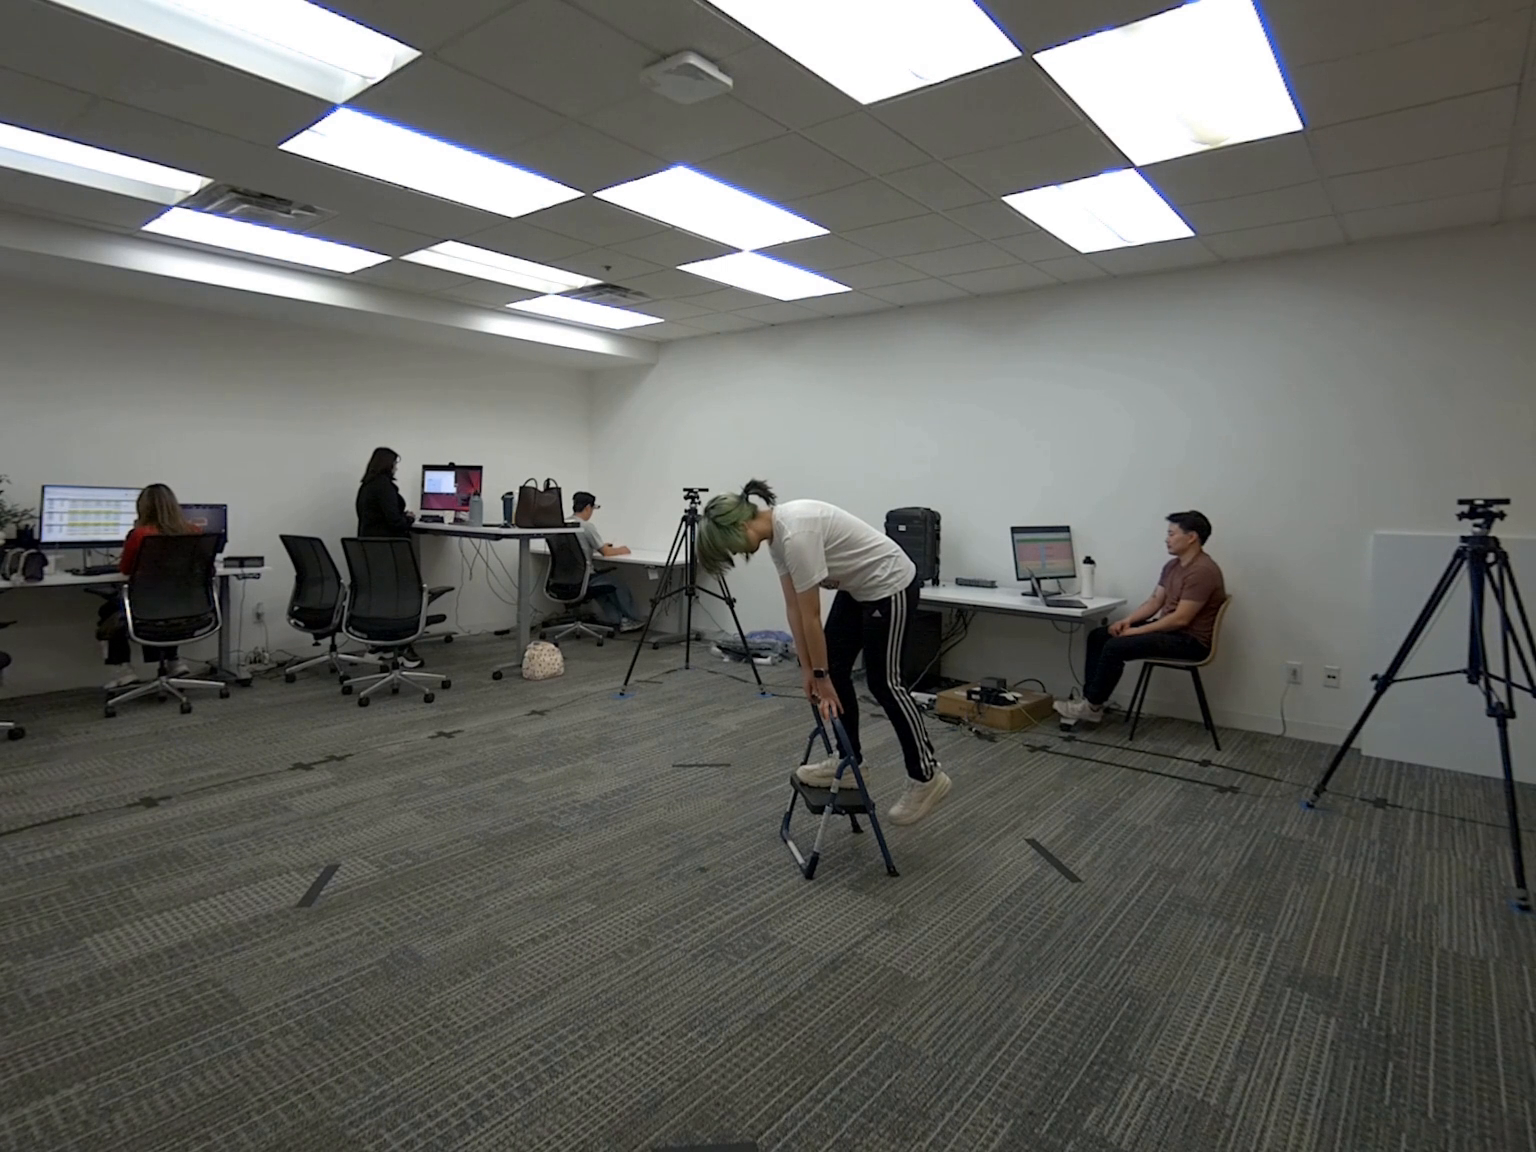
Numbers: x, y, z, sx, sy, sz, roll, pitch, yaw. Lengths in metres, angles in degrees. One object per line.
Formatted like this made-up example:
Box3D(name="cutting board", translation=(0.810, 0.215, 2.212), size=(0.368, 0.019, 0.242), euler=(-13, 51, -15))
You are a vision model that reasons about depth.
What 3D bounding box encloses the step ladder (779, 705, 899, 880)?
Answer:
Box3D(name="step ladder", translation=(0.261, 0.768, 3.253), size=(0.345, 0.604, 0.437), euler=(1, 4, -12))
